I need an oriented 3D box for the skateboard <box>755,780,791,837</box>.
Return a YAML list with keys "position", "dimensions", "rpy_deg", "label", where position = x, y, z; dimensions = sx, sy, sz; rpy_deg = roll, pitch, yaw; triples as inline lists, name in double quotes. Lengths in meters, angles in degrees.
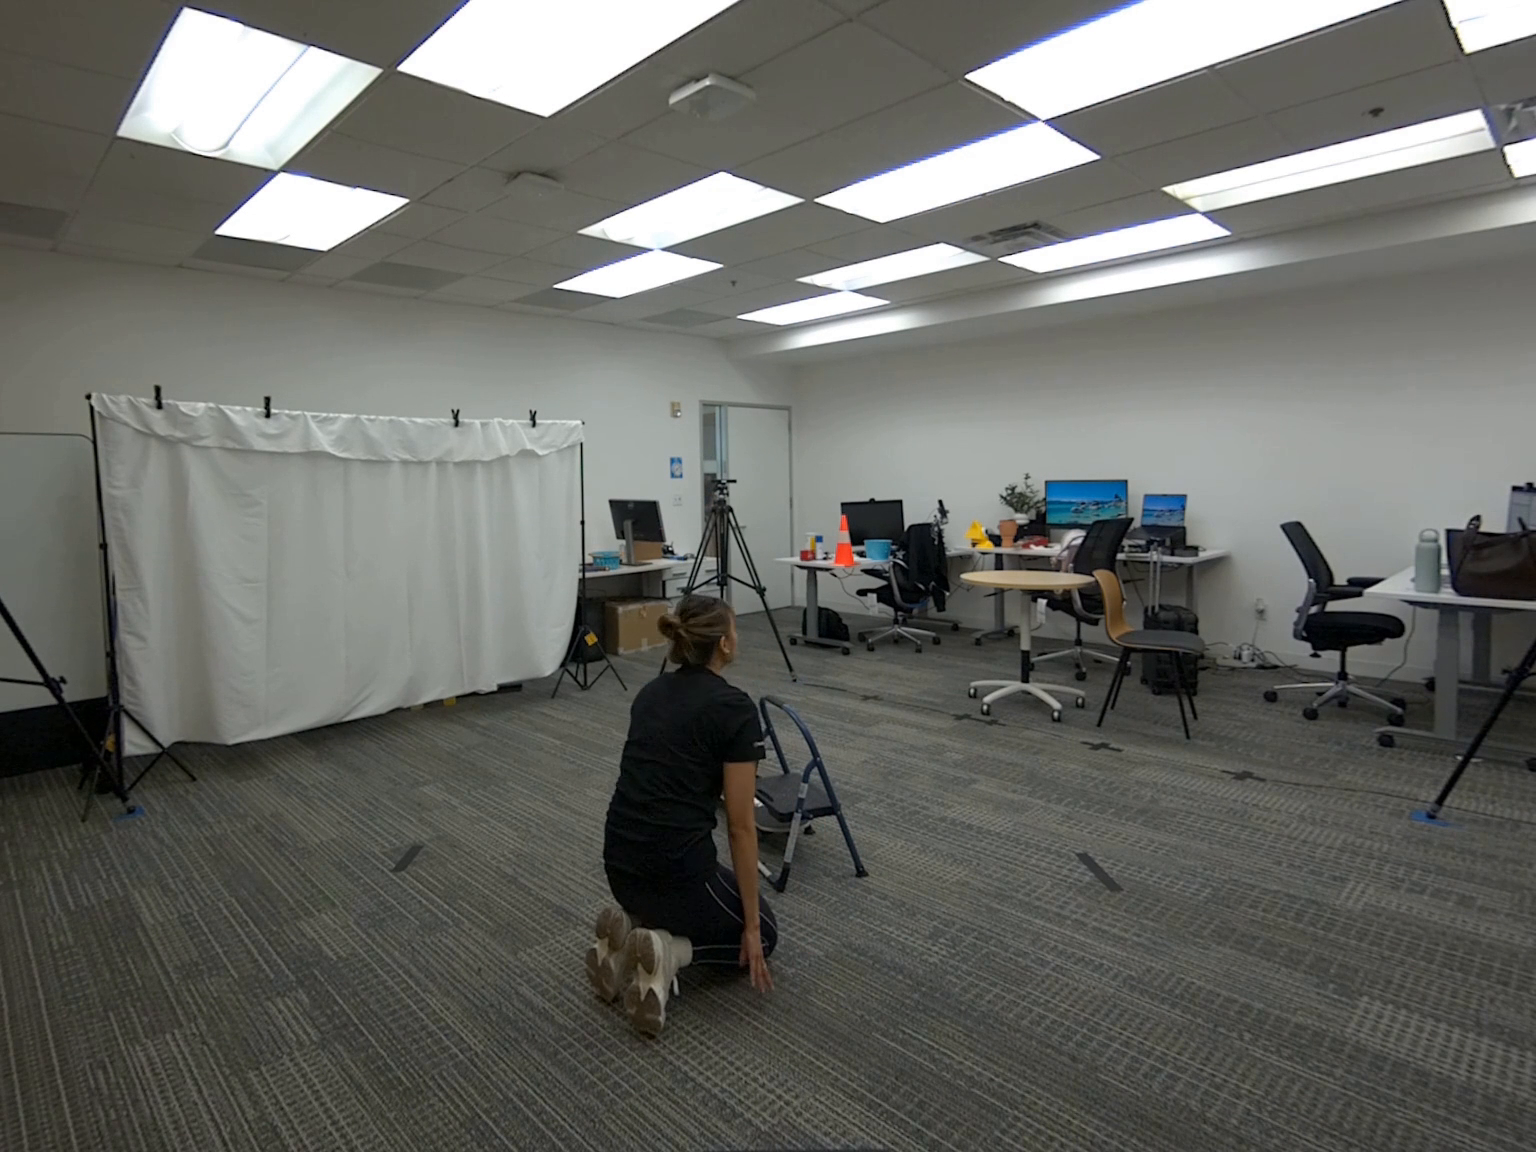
- position: [-0.071, 0.947, 3.528]
  dimensions: [0.189, 0.110, 0.805]
  rpy_deg: [-4, 6, -25]
  label: "skateboard"
